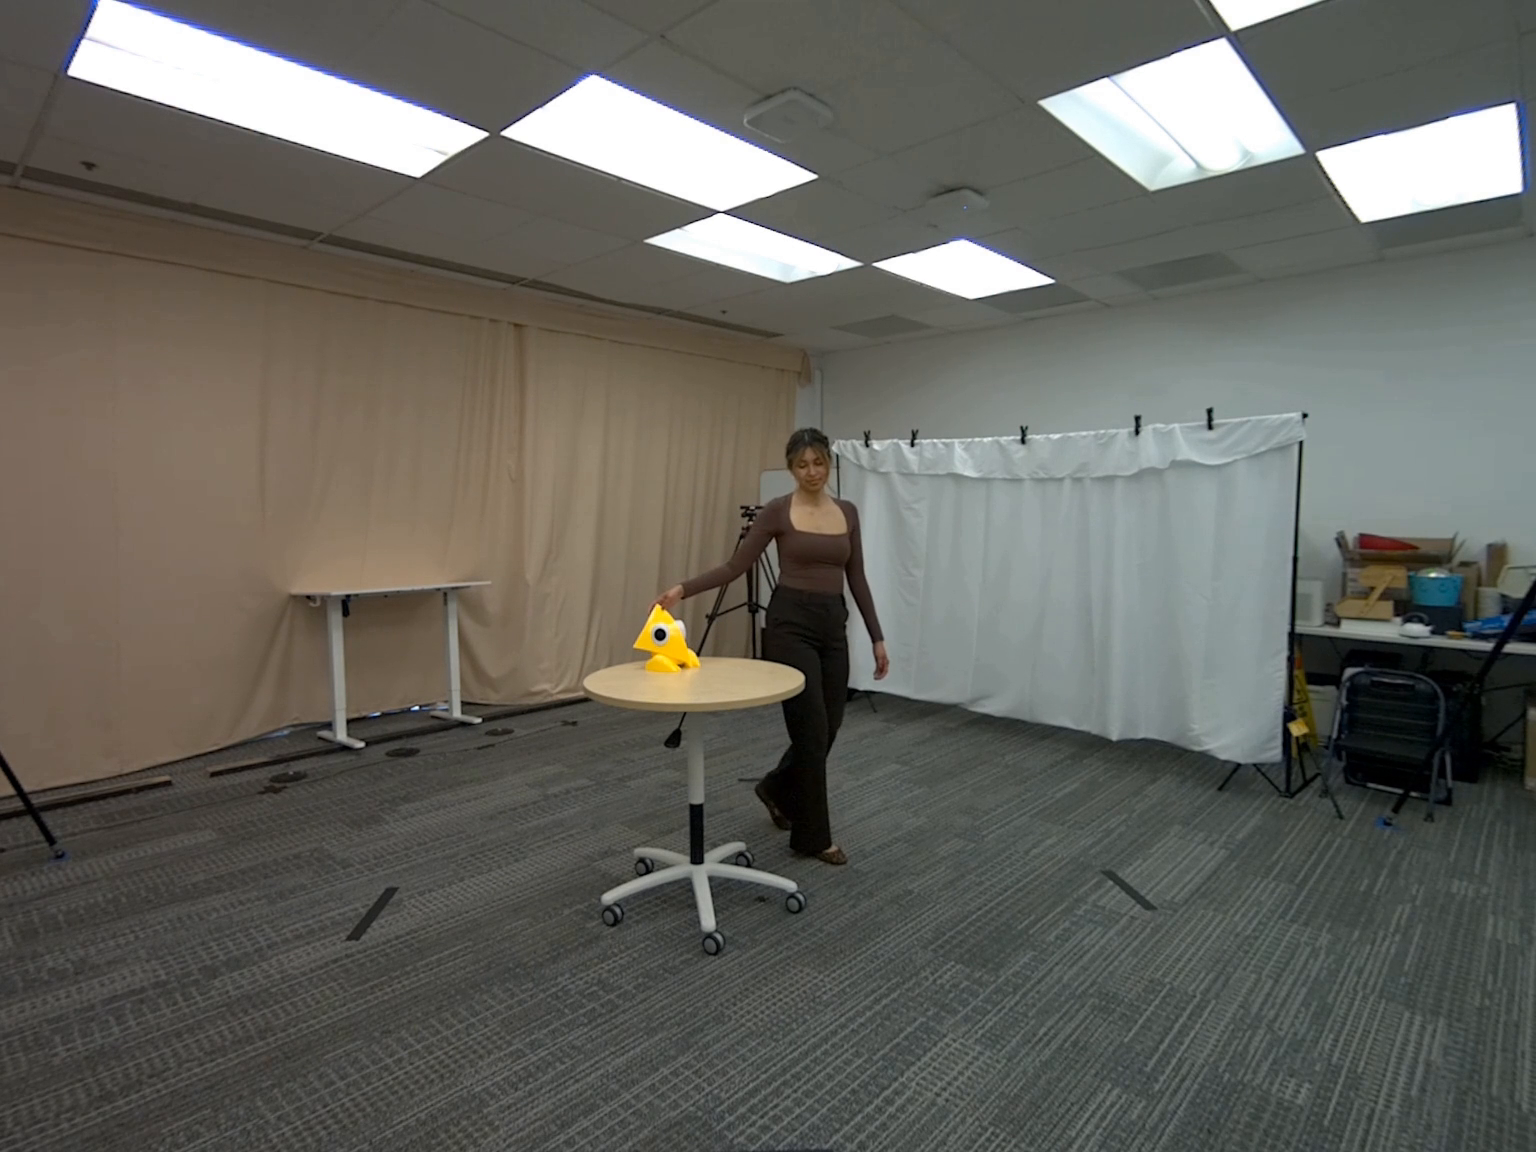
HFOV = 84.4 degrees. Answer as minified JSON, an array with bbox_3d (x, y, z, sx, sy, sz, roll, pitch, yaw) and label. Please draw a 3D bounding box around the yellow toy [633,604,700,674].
[{"bbox_3d":[-0.365,0.225,3.127,0.199,0.230,0.199,2,5,37],"label":"yellow toy"}]
